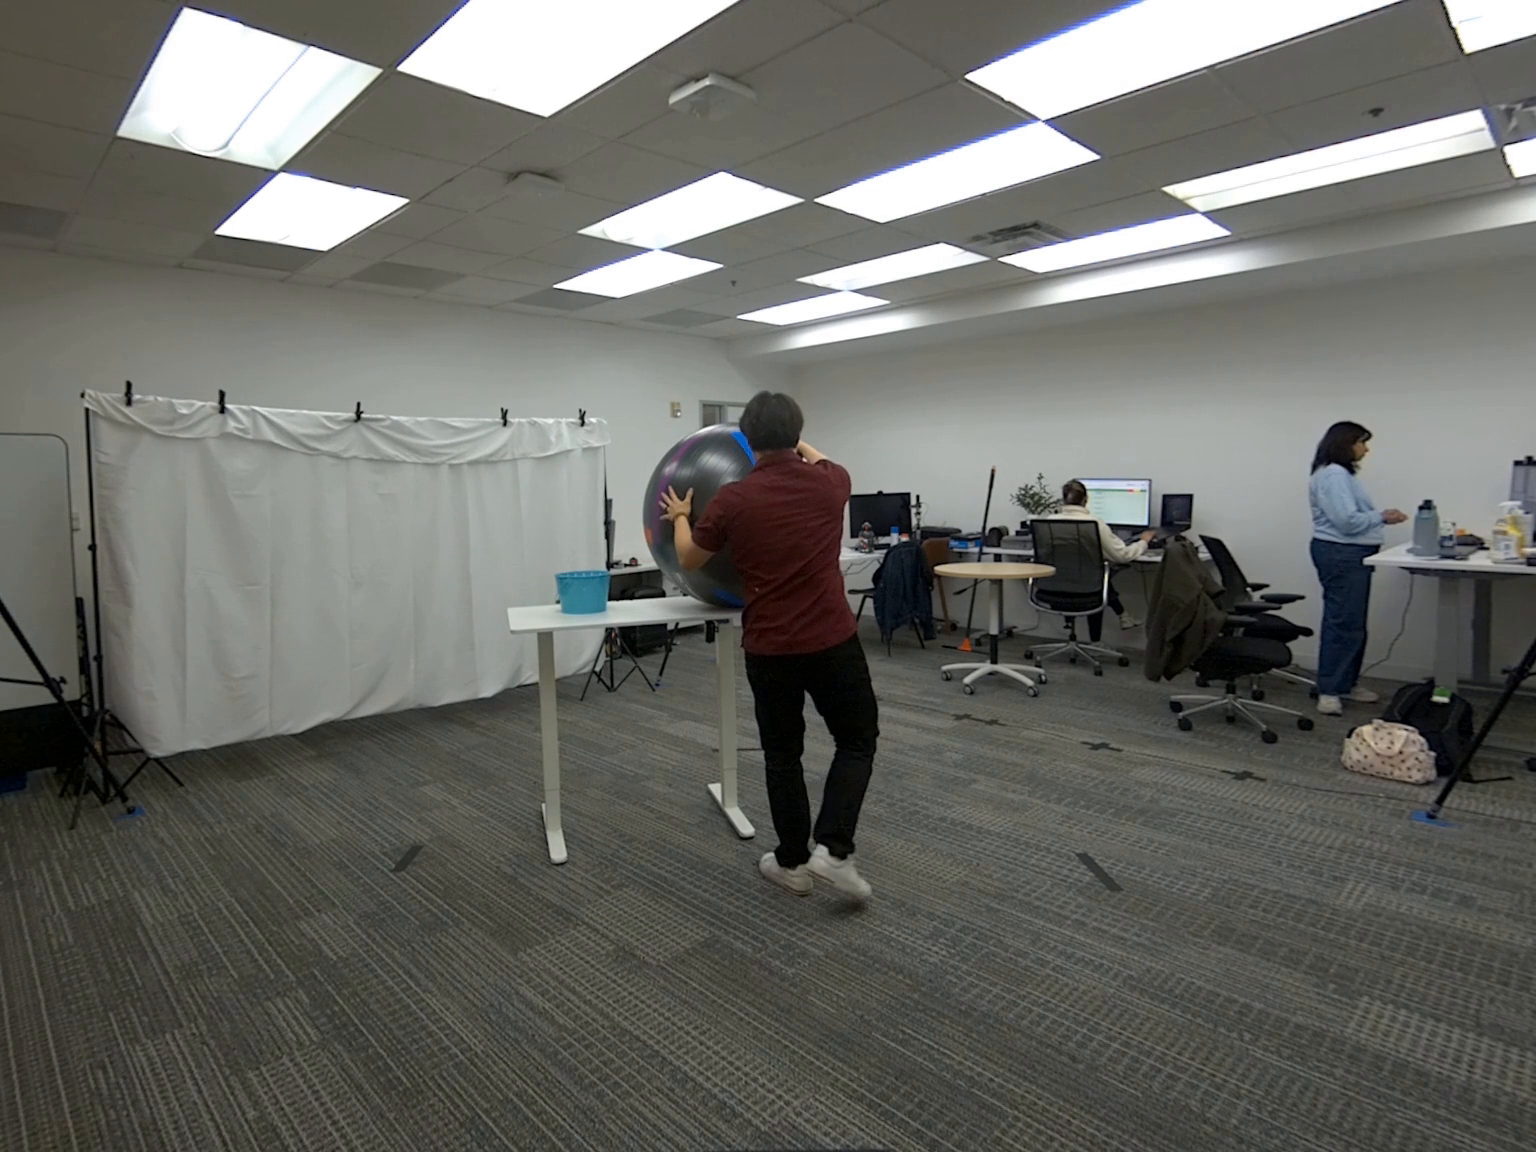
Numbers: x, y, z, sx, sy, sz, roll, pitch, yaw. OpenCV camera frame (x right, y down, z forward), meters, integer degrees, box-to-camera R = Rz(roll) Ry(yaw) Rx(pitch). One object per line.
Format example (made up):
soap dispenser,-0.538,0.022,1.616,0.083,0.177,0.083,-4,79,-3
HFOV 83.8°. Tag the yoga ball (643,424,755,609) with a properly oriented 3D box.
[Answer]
yoga ball,-0.135,-0.242,3.481,0.757,0.755,0.762,-1,5,-2
